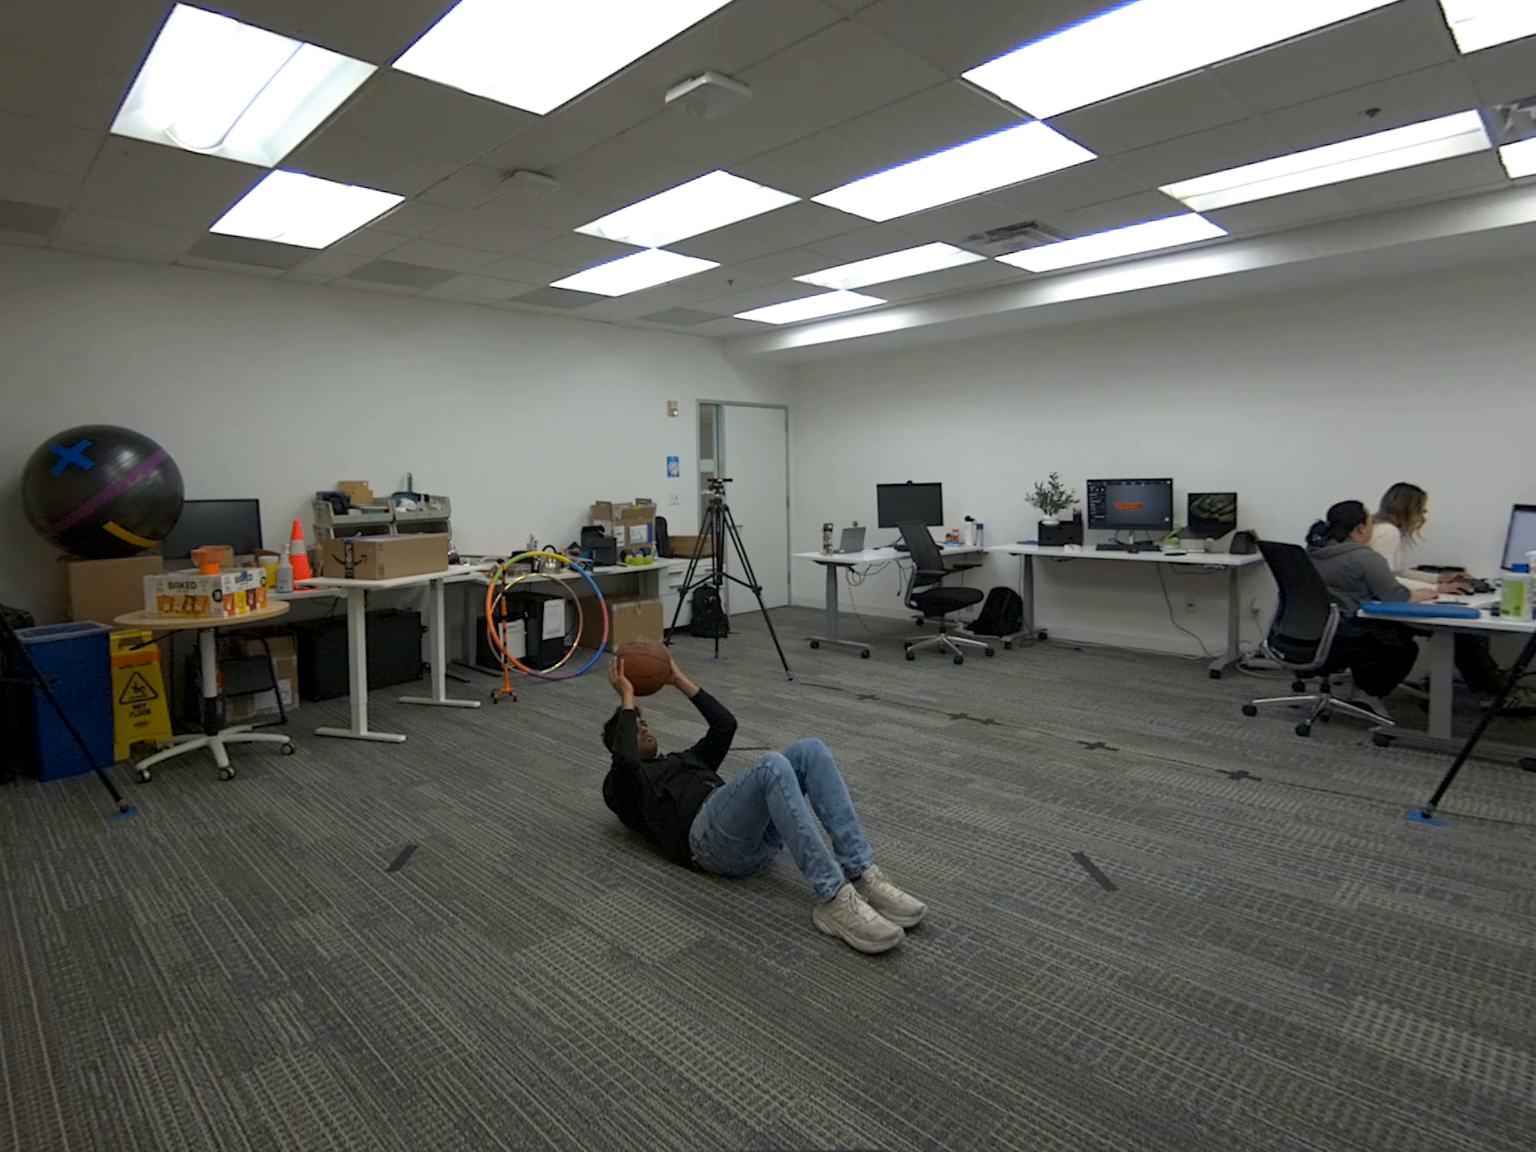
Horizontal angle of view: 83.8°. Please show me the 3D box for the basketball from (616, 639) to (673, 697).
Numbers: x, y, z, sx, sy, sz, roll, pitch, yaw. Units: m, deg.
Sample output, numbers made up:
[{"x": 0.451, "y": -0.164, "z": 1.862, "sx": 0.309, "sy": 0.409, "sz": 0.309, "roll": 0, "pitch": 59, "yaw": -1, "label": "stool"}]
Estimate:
[{"x": -0.501, "y": 0.378, "z": 3.466, "sx": 0.236, "sy": 0.235, "sz": 0.237, "roll": -1, "pitch": 5, "yaw": -2, "label": "basketball"}]
